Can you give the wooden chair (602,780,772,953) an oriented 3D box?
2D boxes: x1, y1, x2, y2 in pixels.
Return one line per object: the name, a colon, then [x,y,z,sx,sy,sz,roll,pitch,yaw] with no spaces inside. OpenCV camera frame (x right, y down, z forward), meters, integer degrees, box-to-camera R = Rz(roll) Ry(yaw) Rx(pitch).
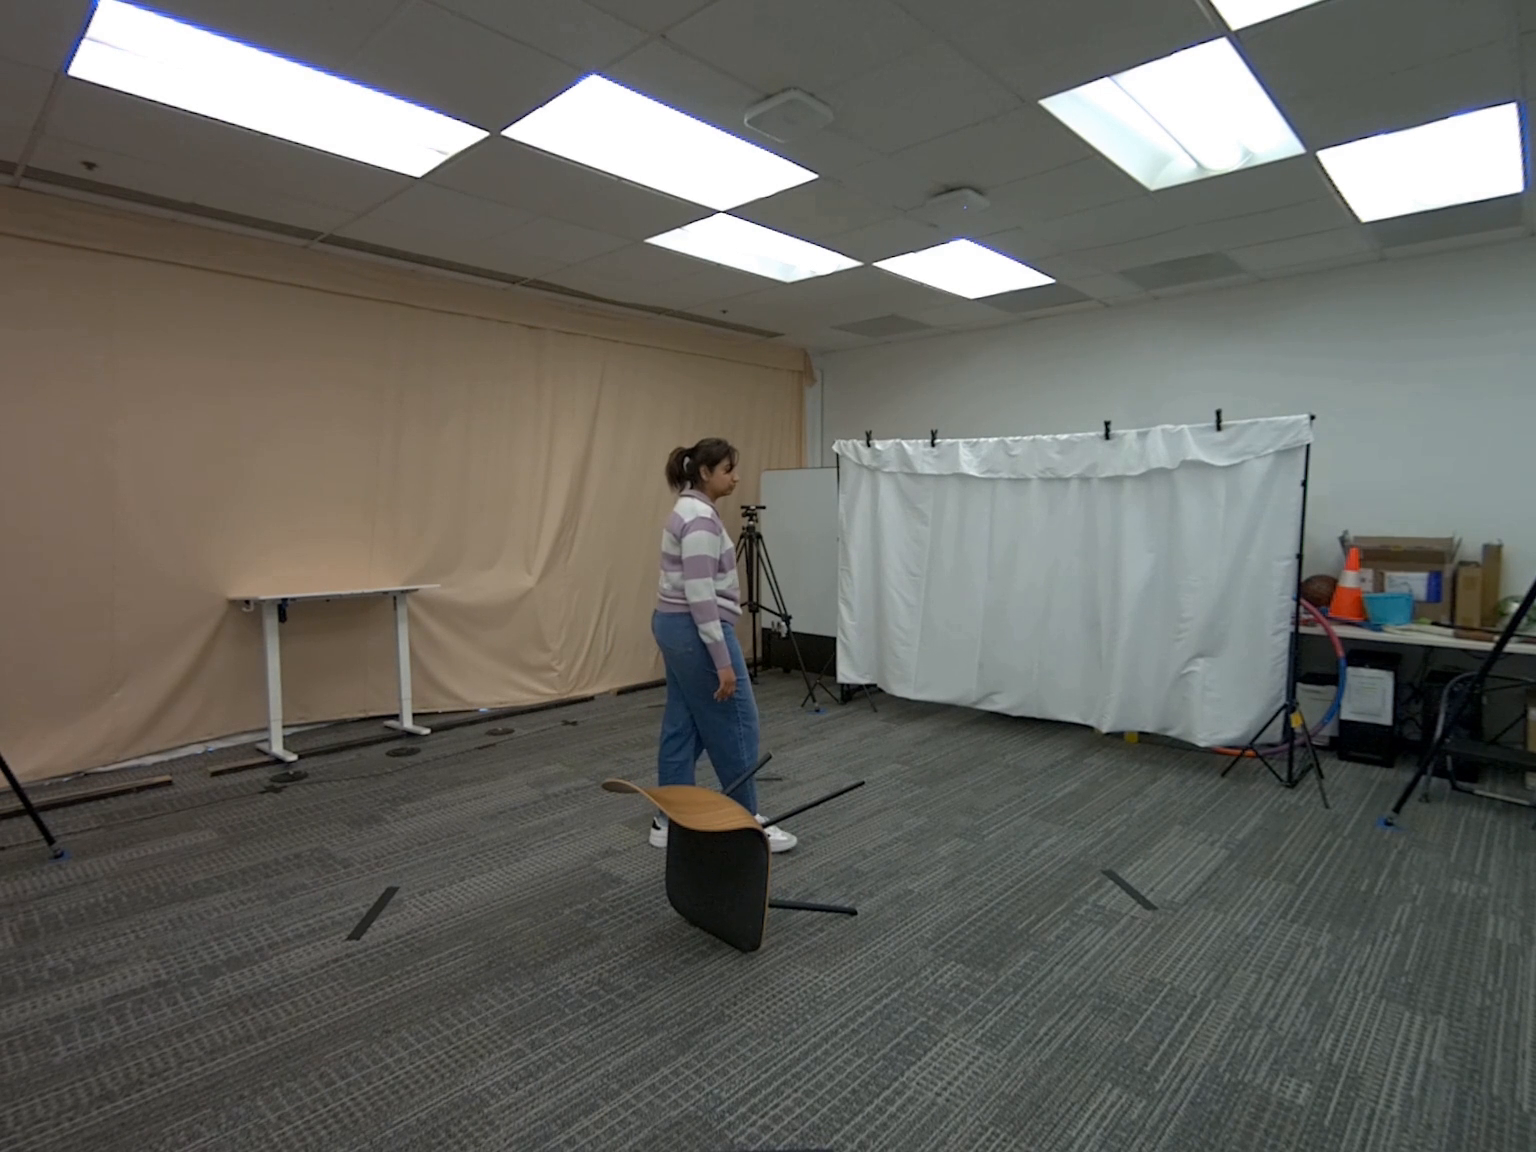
wooden chair: [-0.136,0.906,2.743,0.494,0.524,0.847,5,-2,45]
